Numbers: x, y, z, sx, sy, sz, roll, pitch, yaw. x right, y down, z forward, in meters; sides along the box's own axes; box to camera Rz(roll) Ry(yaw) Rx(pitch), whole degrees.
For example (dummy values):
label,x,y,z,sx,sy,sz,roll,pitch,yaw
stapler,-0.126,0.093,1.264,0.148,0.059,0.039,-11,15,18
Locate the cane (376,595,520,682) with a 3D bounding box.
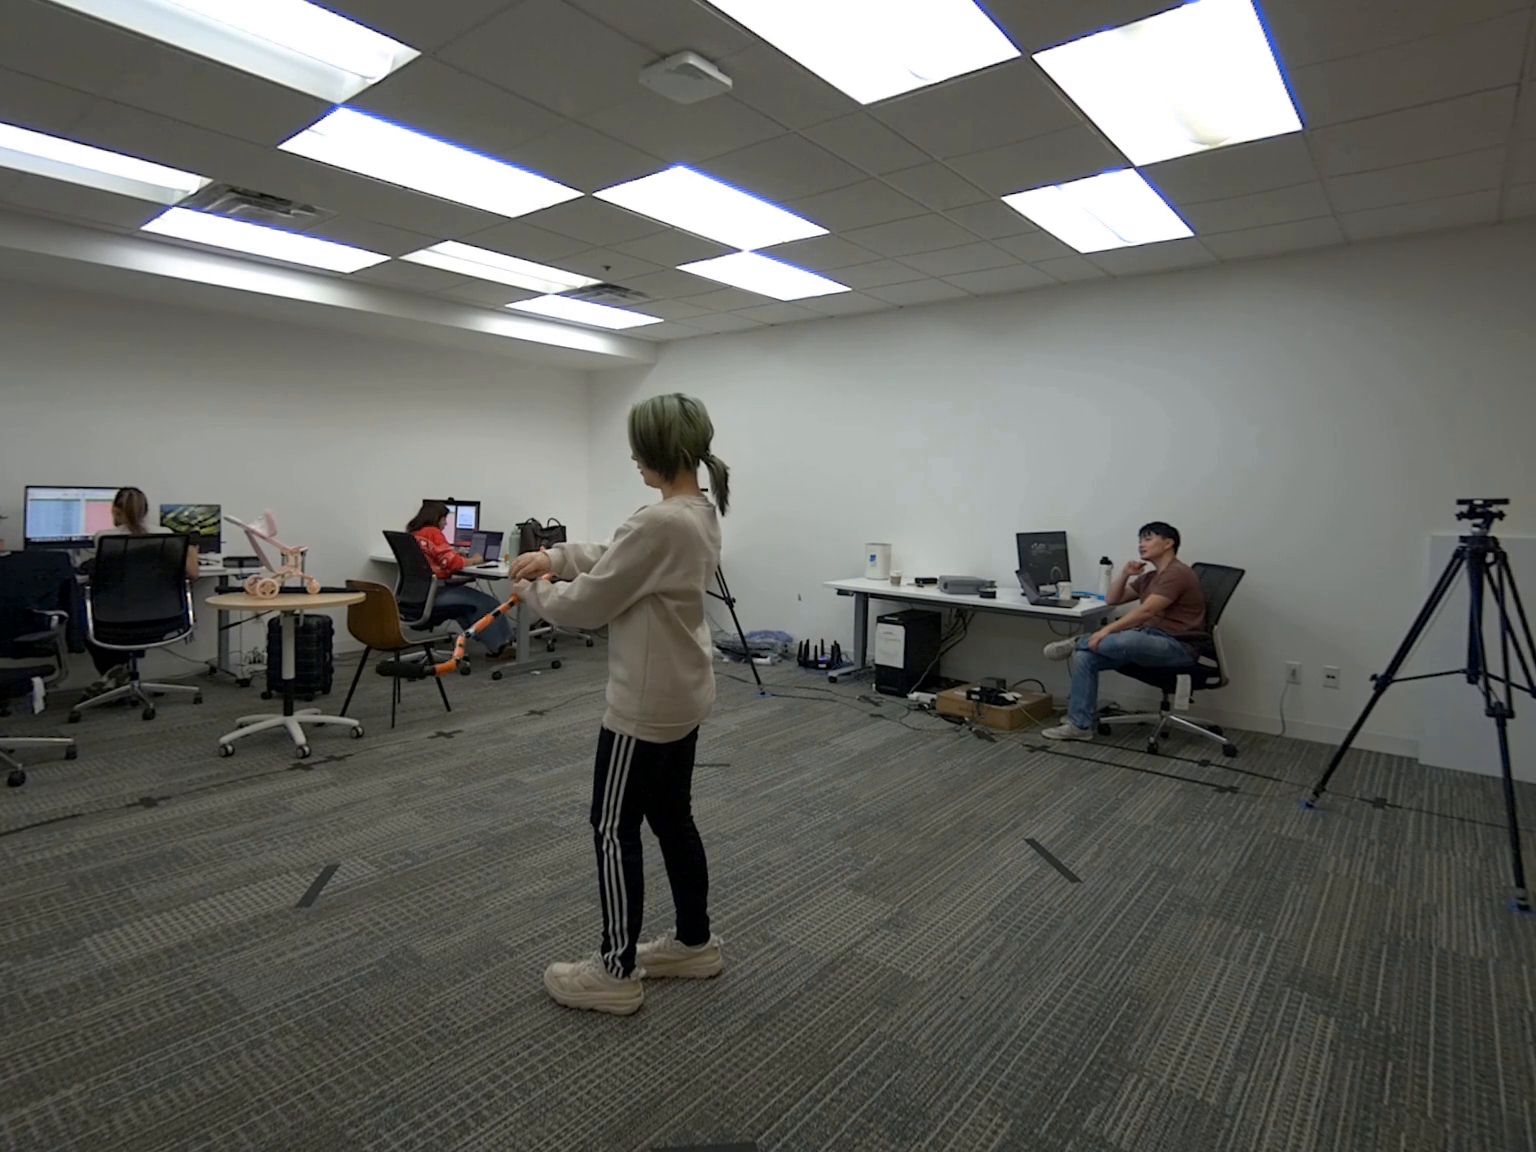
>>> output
label,x,y,z,sx,sy,sz,roll,pitch,yaw
cane,-0.724,0.098,2.330,0.209,0.149,0.912,3,18,8
